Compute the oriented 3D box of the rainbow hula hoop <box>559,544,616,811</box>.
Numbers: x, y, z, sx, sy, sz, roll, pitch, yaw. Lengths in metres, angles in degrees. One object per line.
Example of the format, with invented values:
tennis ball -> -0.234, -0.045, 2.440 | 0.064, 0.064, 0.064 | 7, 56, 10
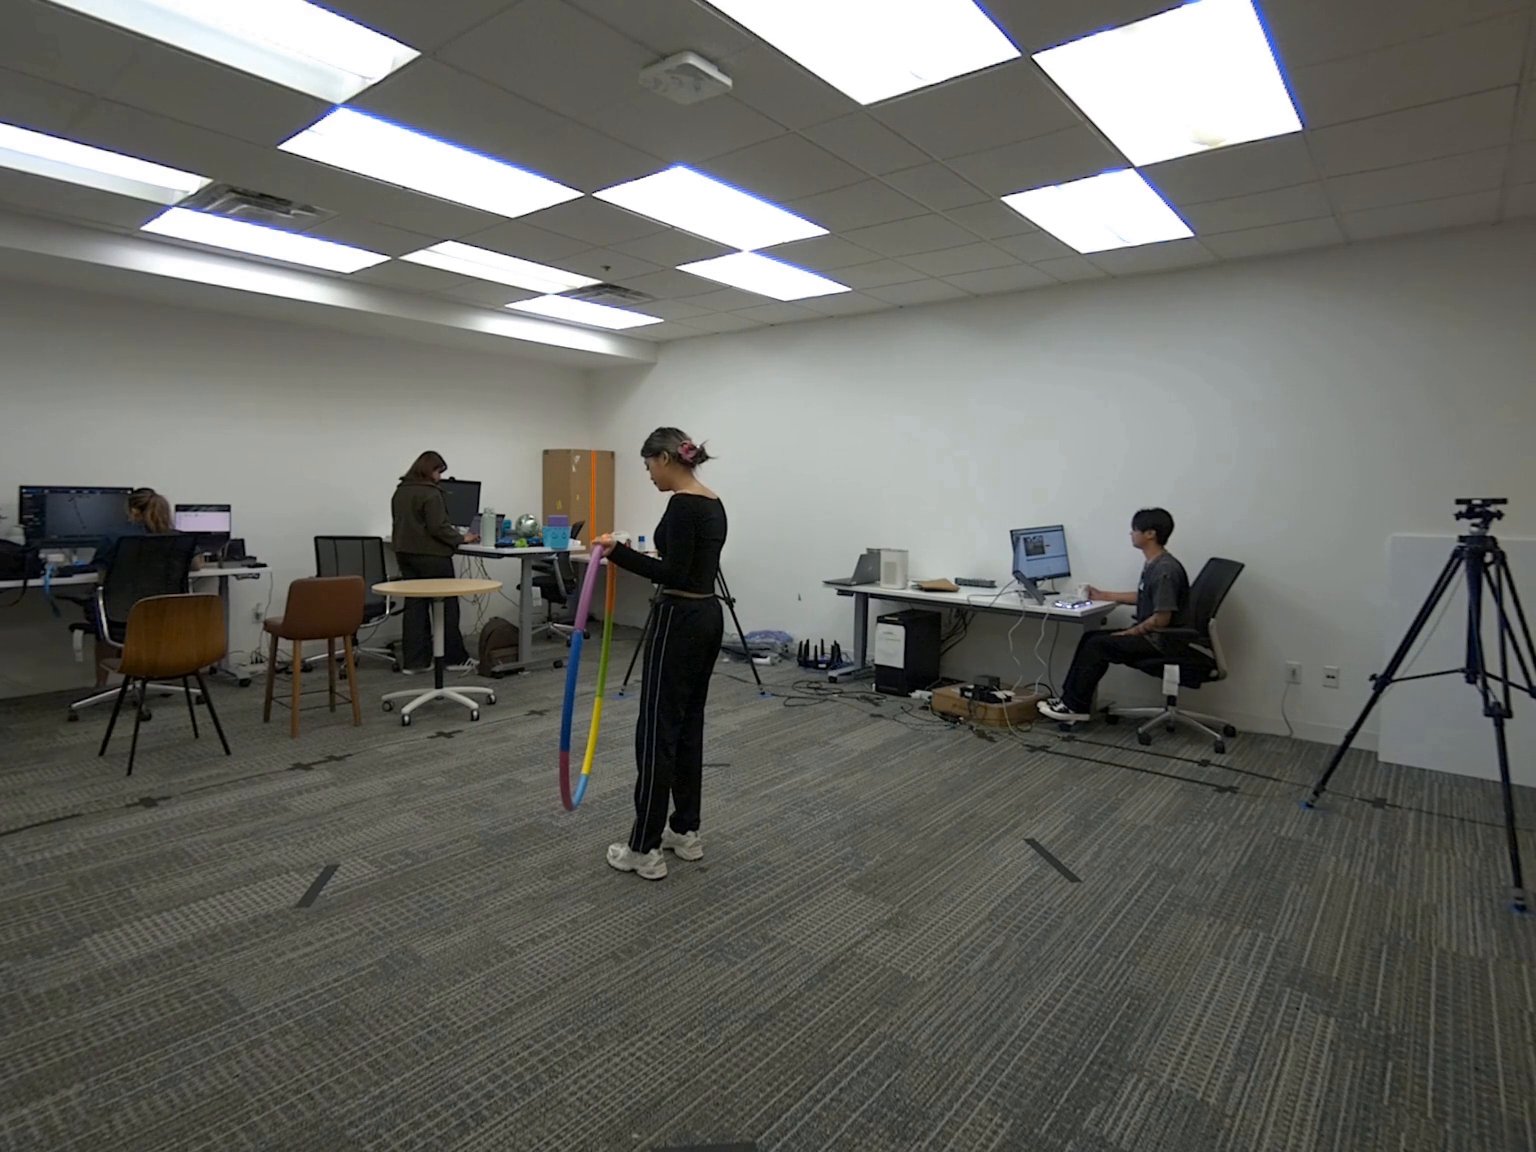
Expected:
rainbow hula hoop -> -0.666, 0.353, 3.121 | 0.035, 0.976, 0.983 | 7, 4, -3
